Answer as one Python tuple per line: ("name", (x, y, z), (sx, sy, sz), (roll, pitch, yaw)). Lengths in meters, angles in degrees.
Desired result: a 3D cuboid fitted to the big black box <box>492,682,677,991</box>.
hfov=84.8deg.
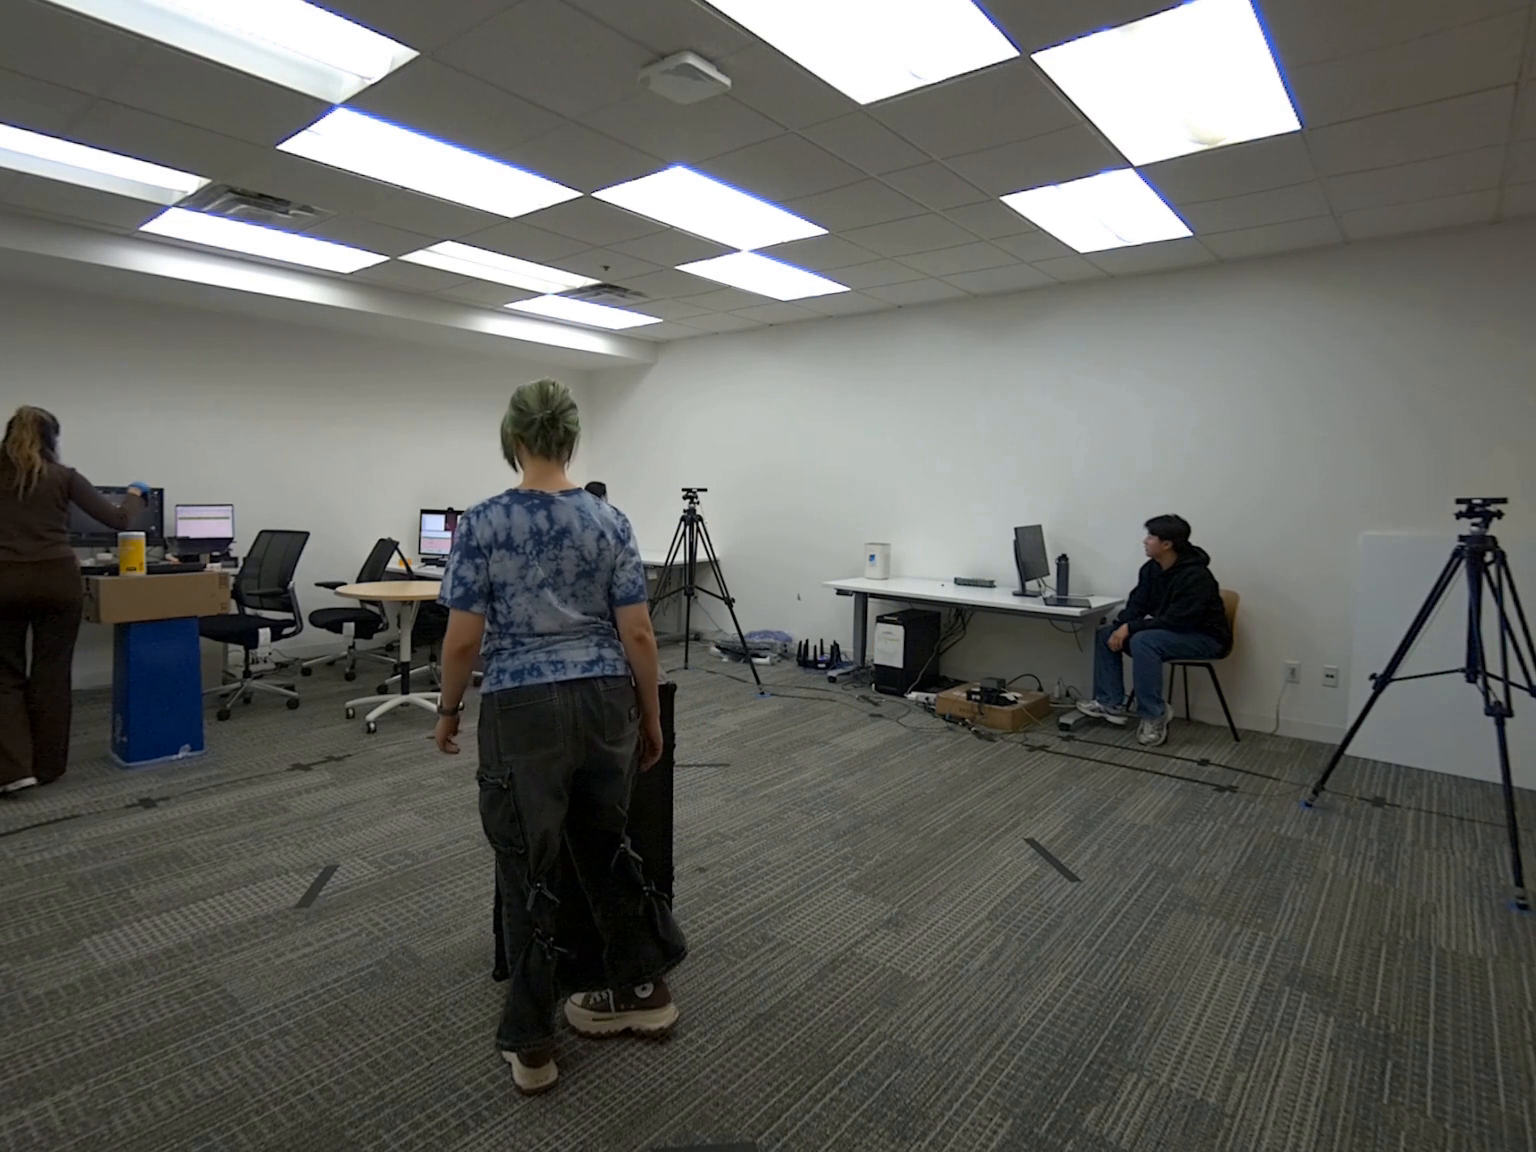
("big black box", (-0.555, 0.703, 2.475), (0.514, 0.860, 0.403), (0, 2, -14))
